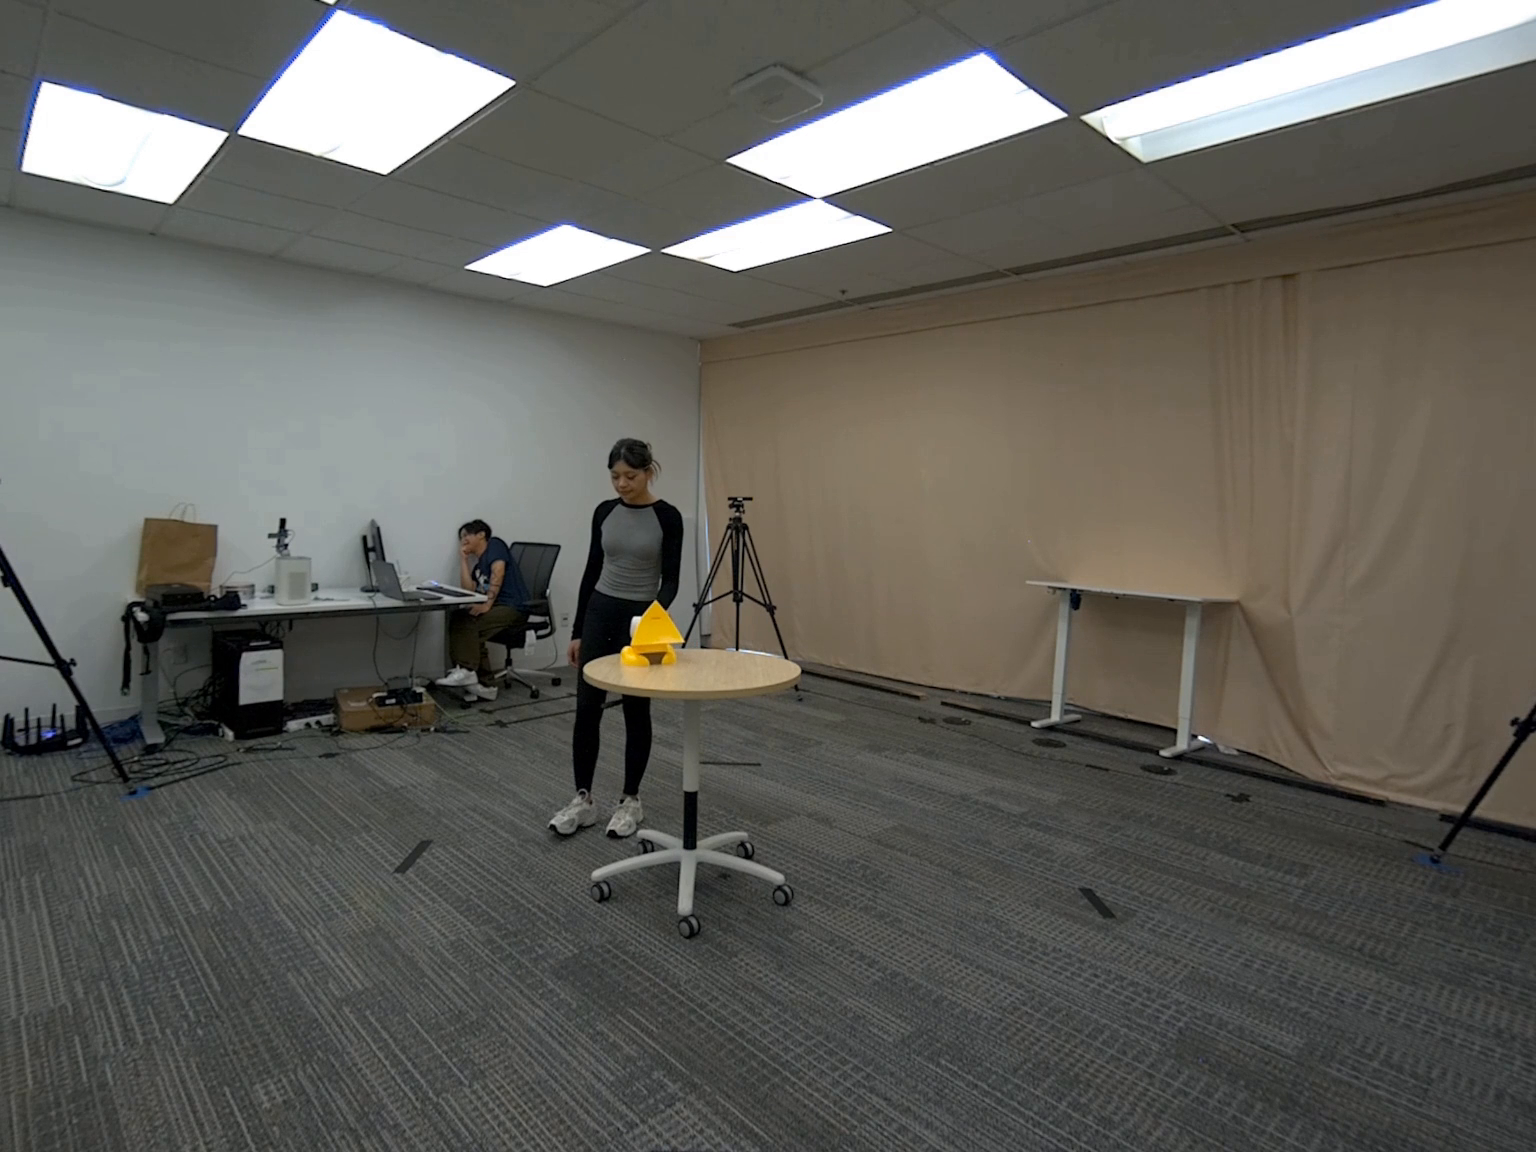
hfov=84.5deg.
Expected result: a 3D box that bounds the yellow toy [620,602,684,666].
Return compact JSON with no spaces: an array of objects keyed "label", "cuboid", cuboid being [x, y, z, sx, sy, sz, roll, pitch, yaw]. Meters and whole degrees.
[{"label":"yellow toy","cuboid":[-0.443,0.201,3.076,0.201,0.230,0.197,-1,4,-28]}]
